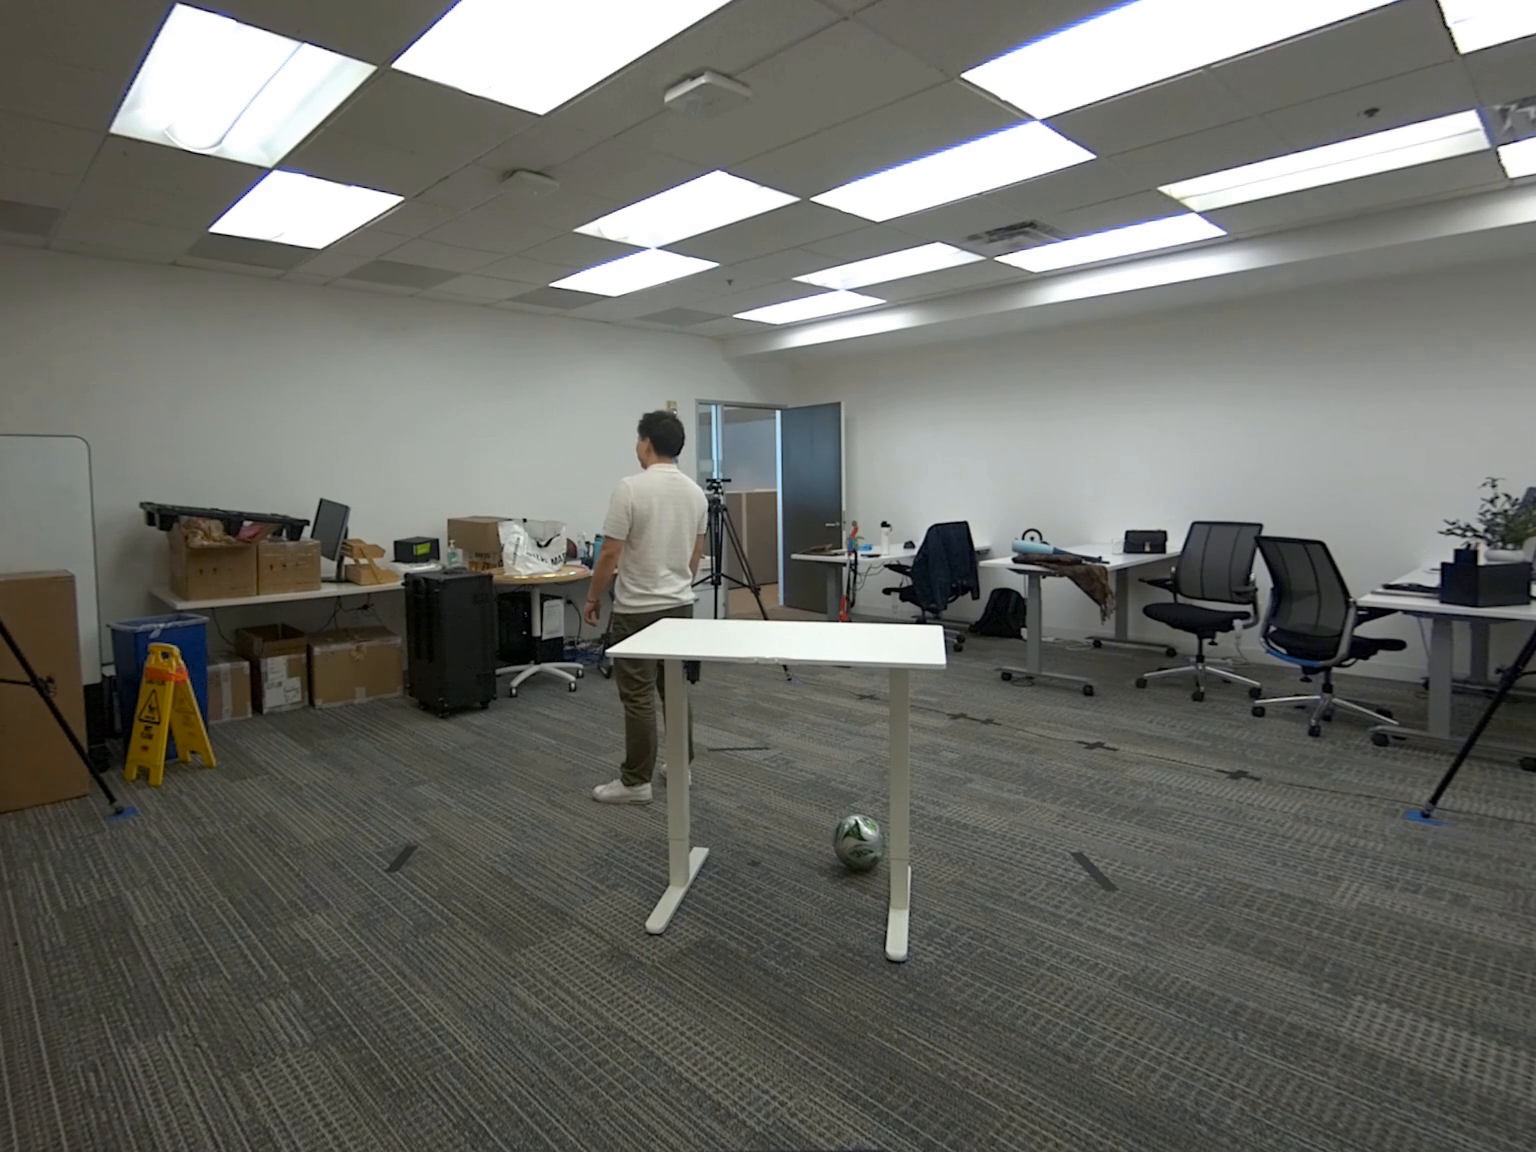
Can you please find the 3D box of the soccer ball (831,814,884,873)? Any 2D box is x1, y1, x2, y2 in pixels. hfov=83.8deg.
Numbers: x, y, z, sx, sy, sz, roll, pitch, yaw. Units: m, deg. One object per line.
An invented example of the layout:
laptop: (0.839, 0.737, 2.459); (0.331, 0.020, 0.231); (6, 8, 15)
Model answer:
soccer ball: (0.328, 0.947, 3.055); (0.187, 0.187, 0.188); (-1, 5, -2)
